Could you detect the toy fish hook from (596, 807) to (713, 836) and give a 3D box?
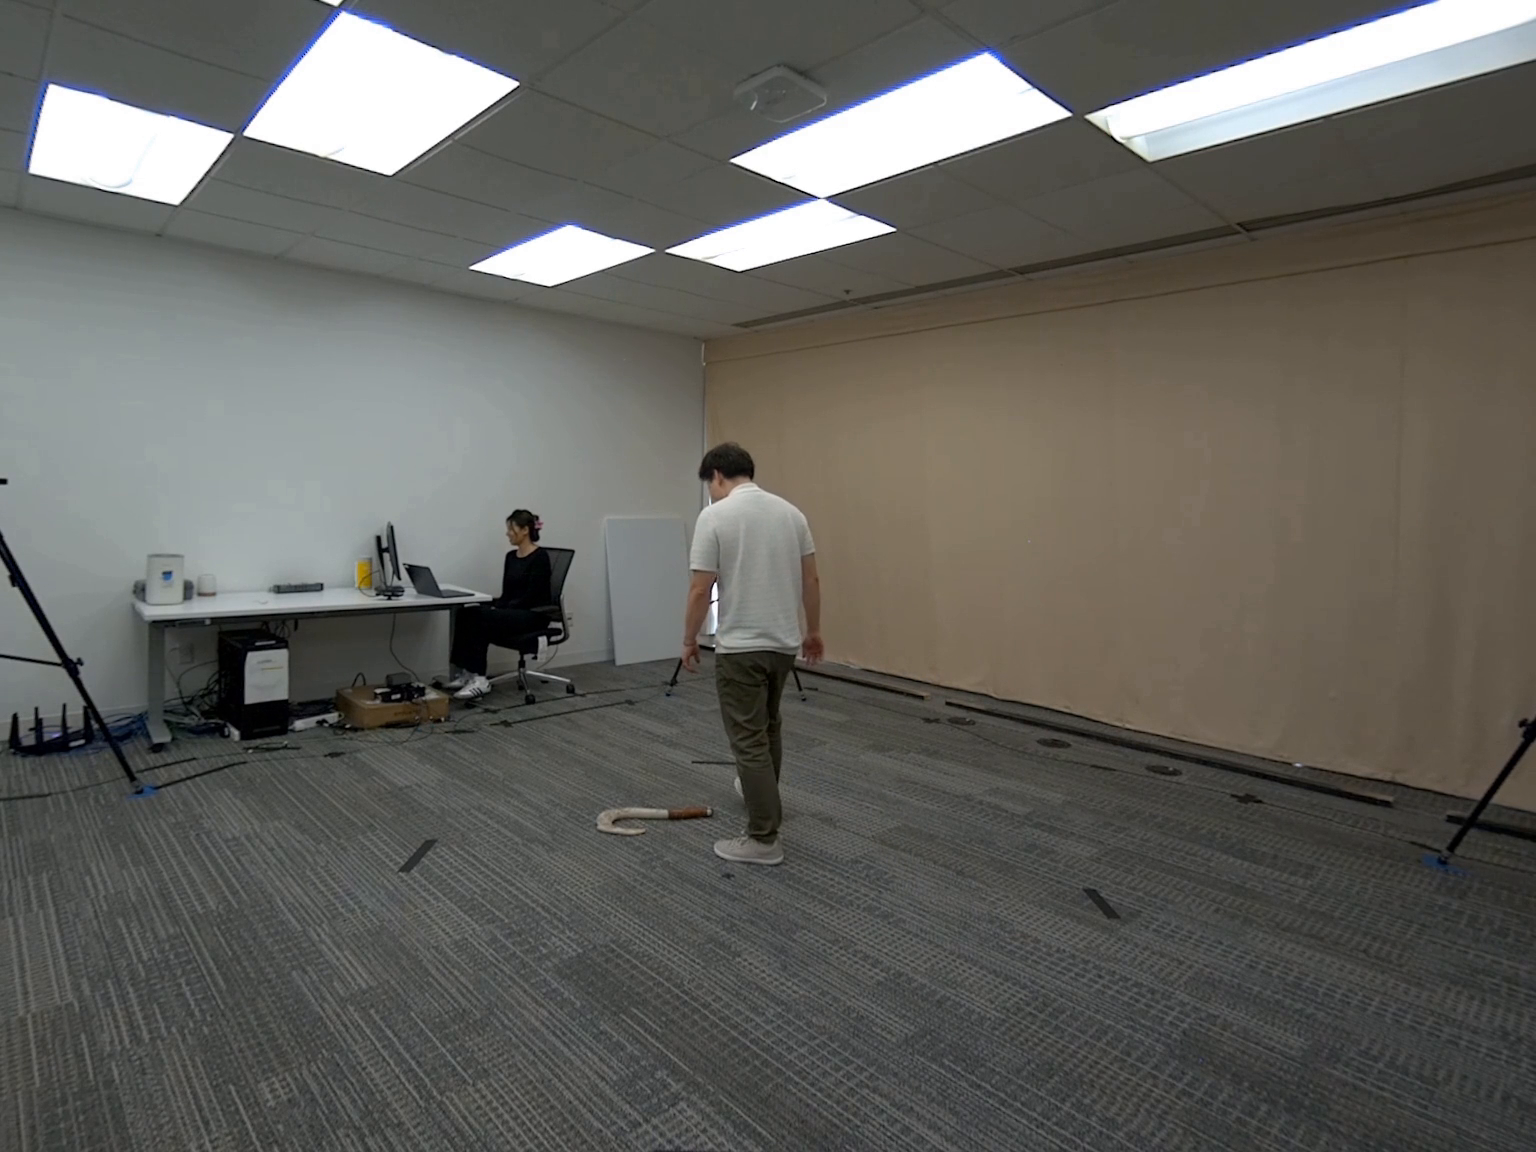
[{"bbox_3d":[-0.485,1.042,3.584,0.502,0.048,0.229,0,13,-12],"label":"toy fish hook"}]
